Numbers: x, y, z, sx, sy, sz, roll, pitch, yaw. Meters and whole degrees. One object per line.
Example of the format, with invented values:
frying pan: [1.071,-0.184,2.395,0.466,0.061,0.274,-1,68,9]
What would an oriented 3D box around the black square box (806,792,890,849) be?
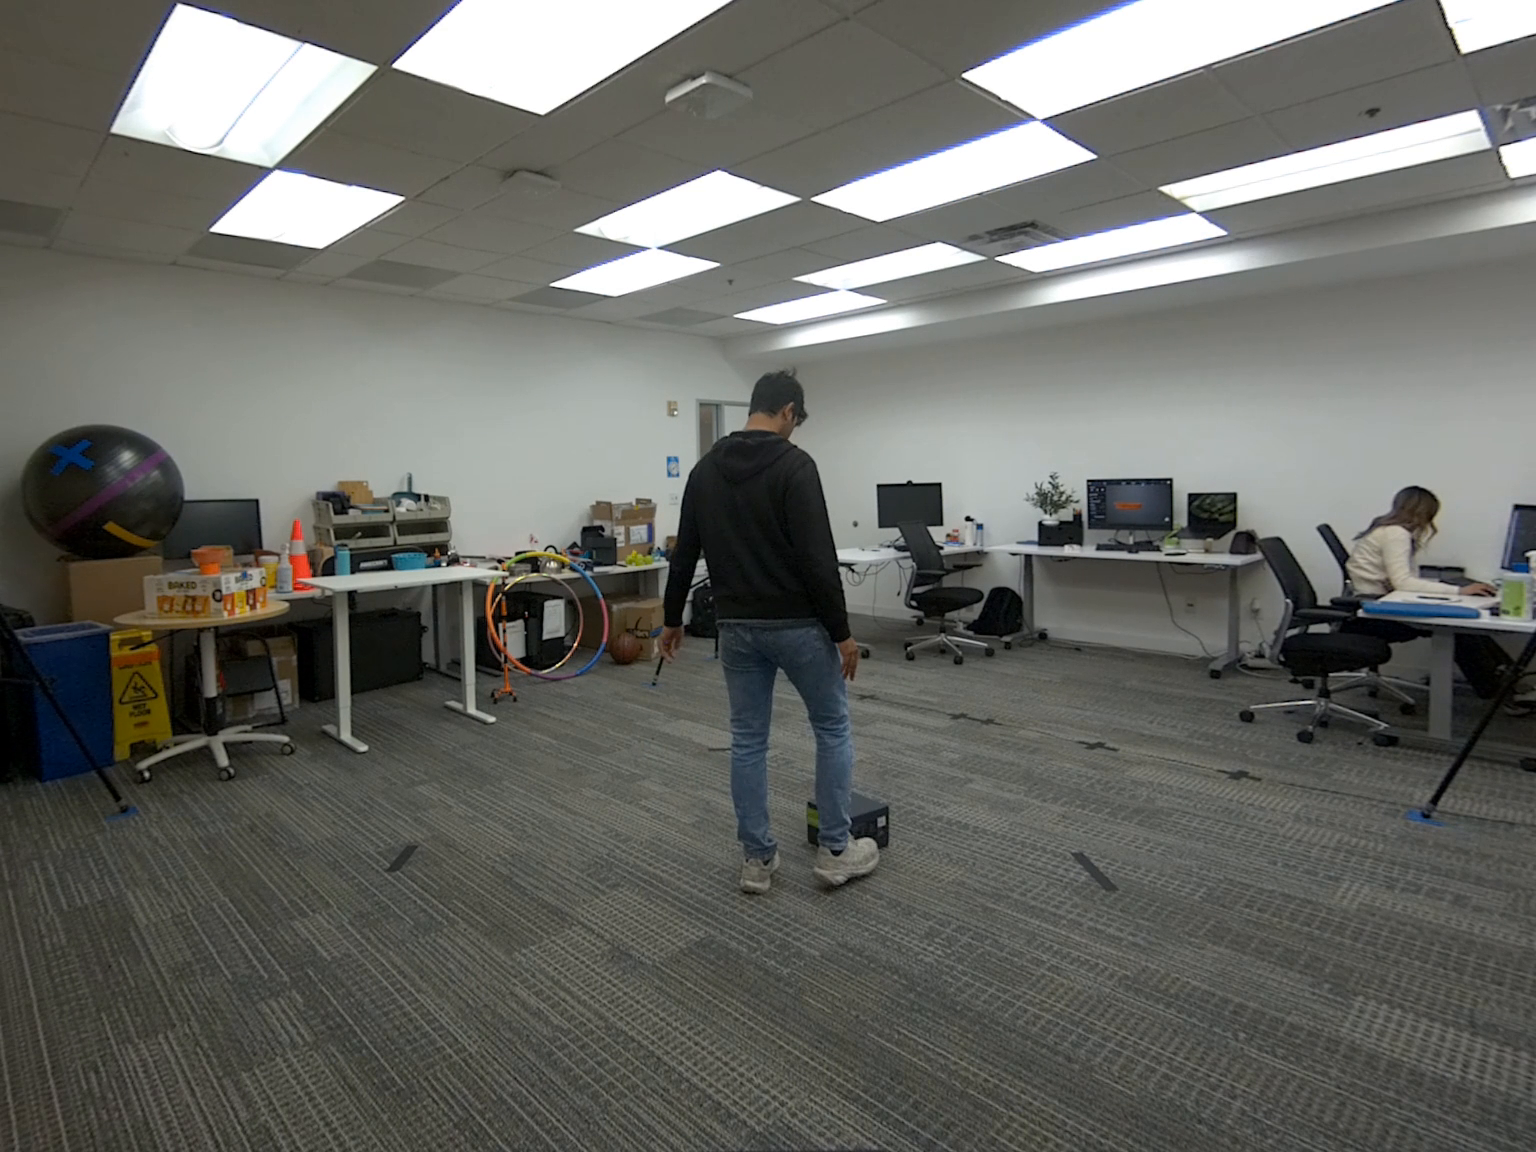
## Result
black square box: [0.305,0.938,3.250,0.211,0.155,0.235,-5,8,-38]
